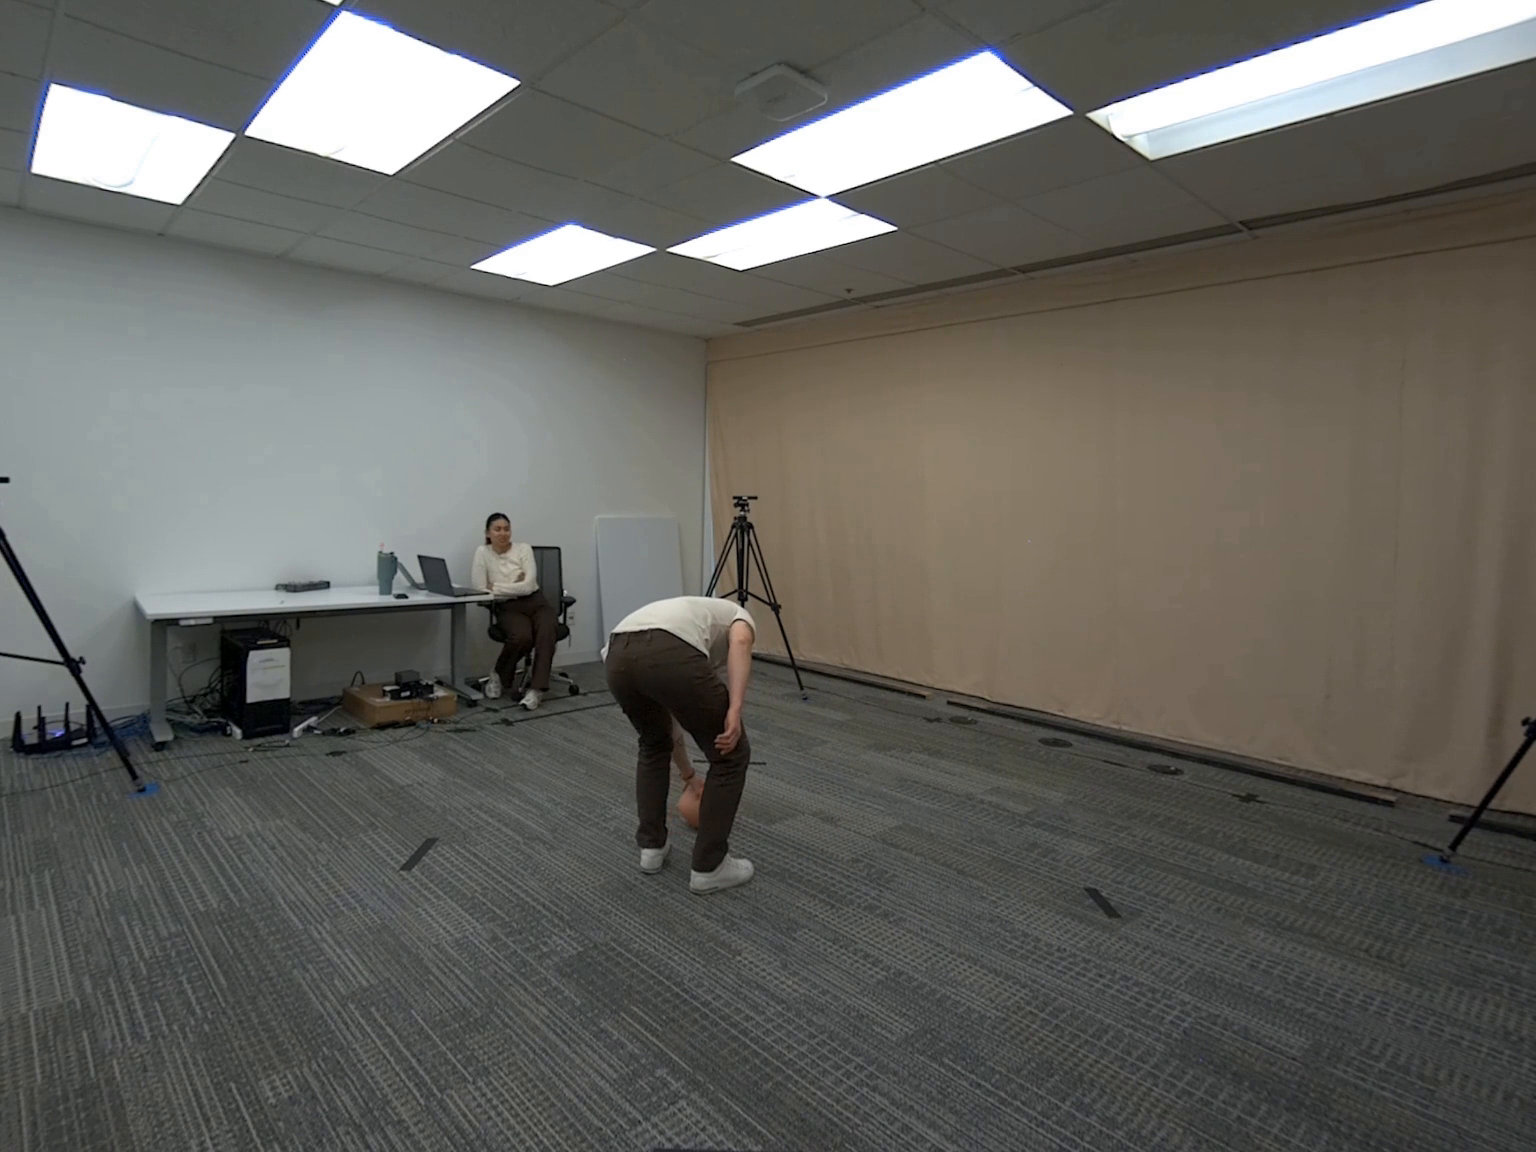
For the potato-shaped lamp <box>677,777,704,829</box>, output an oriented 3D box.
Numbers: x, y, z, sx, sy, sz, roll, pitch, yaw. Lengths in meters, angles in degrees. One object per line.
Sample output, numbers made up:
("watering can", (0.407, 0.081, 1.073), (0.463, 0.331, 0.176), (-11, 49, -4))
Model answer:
("potato-shaped lamp", (-0.284, 0.959, 3.558), (0.173, 0.198, 0.163), (46, 7, 10))
